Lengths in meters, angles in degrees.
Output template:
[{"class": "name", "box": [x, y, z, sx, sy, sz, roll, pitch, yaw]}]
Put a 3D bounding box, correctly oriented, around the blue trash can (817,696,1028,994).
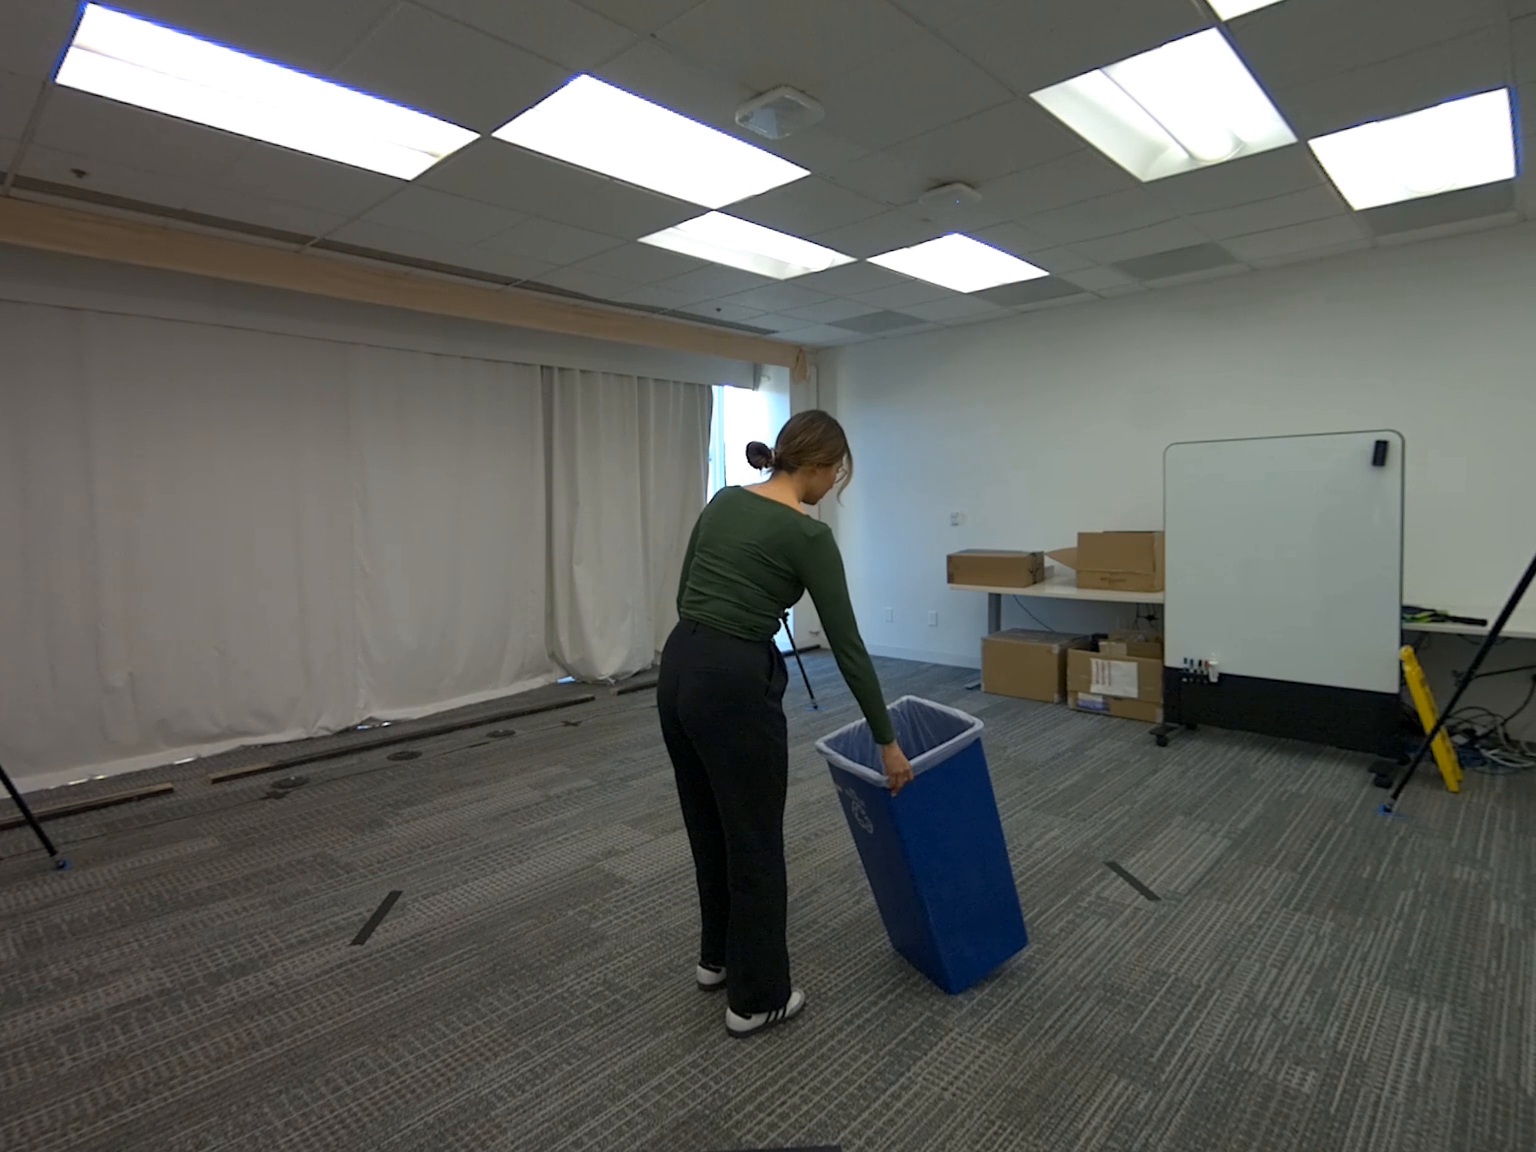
[{"class": "blue trash can", "box": [0.482, 0.784, 2.487, 0.368, 0.706, 0.388, -22, 12, -22]}]
